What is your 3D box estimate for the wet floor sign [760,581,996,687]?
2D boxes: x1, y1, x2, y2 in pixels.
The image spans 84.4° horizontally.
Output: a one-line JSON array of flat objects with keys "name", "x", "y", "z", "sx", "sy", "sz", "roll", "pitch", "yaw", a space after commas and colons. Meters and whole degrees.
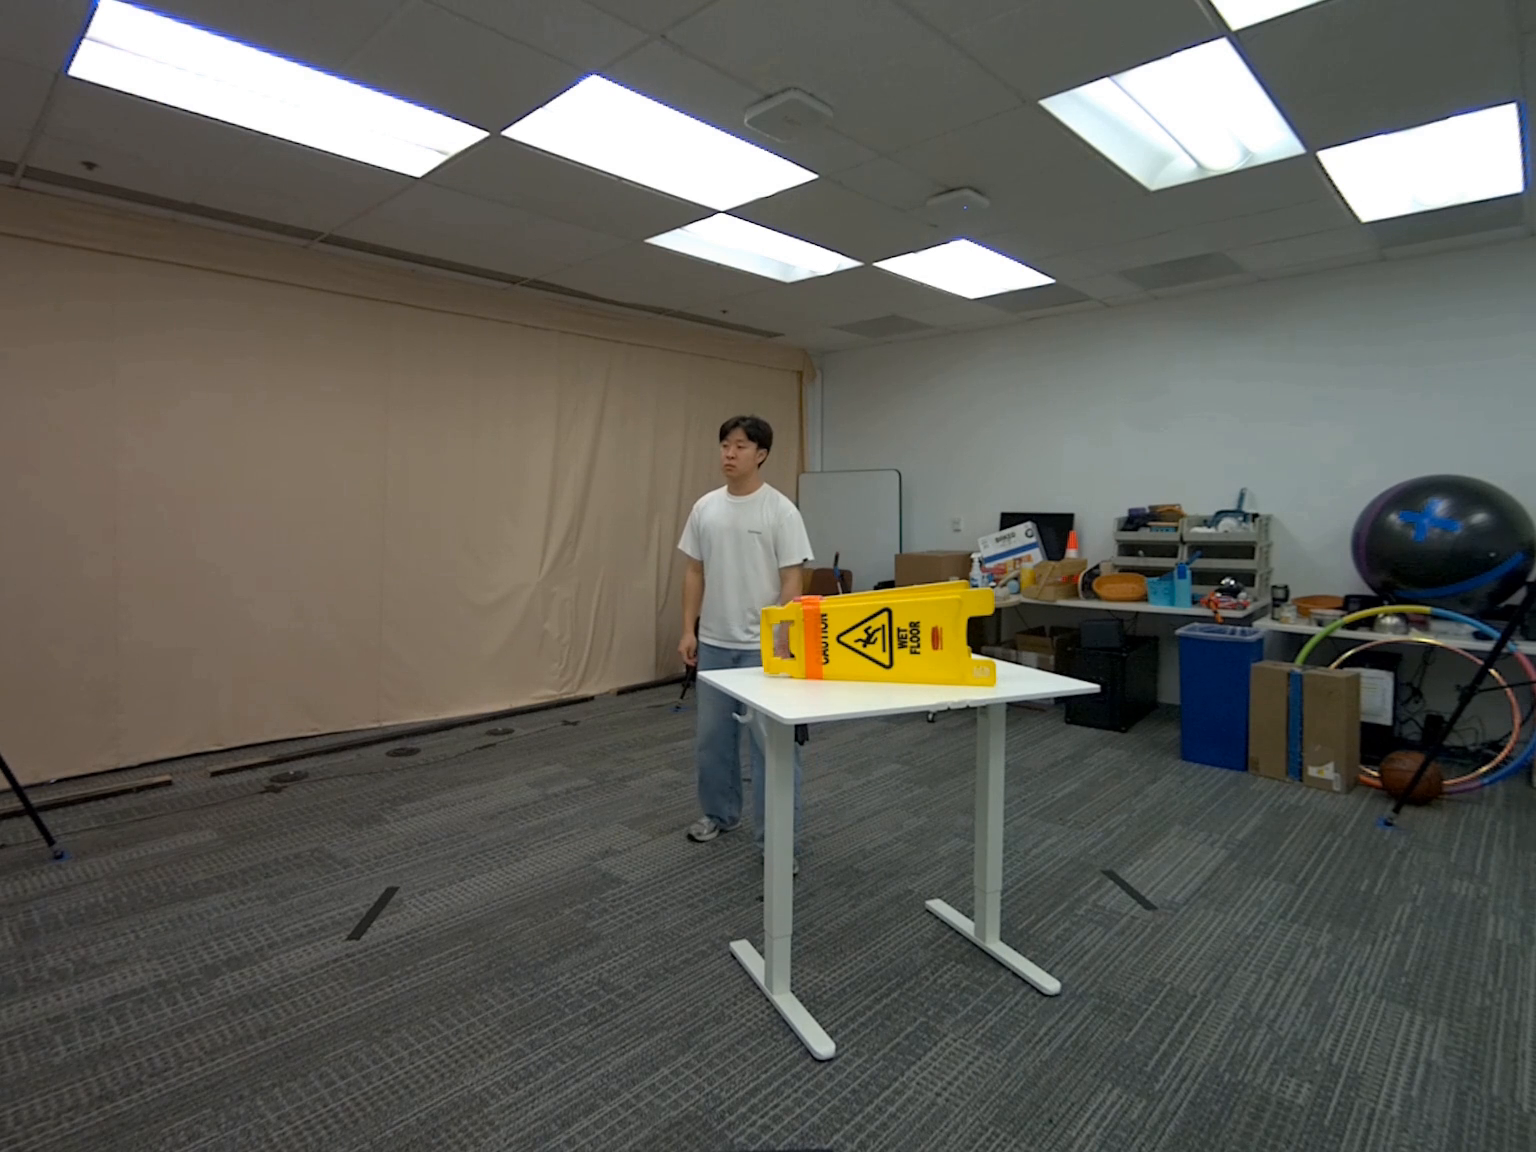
[{"name": "wet floor sign", "x": 0.312, "y": 0.178, "z": 2.475, "sx": 0.647, "sy": 0.282, "sz": 0.290, "roll": -3, "pitch": 3, "yaw": 1}]
